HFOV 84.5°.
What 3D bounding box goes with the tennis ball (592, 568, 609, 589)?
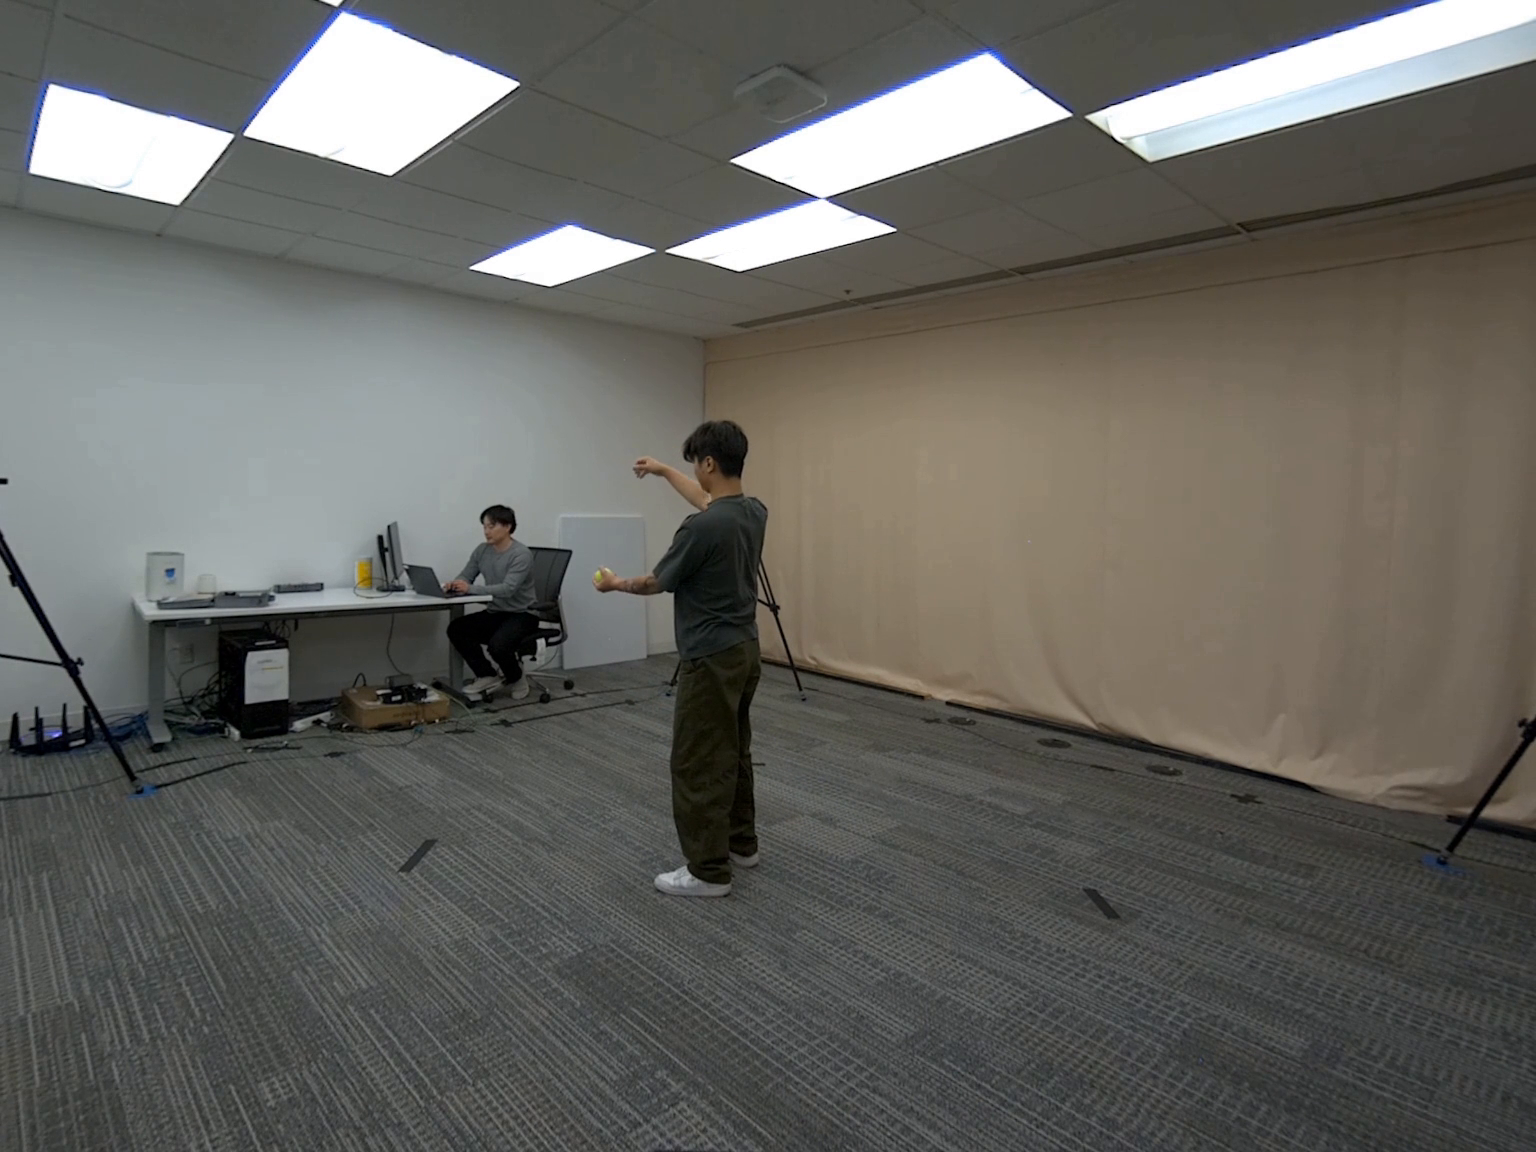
[{"bbox_3d":[-0.602,0.000,3.224,0.066,0.066,0.067,1,4,-1],"label":"tennis ball"}]
